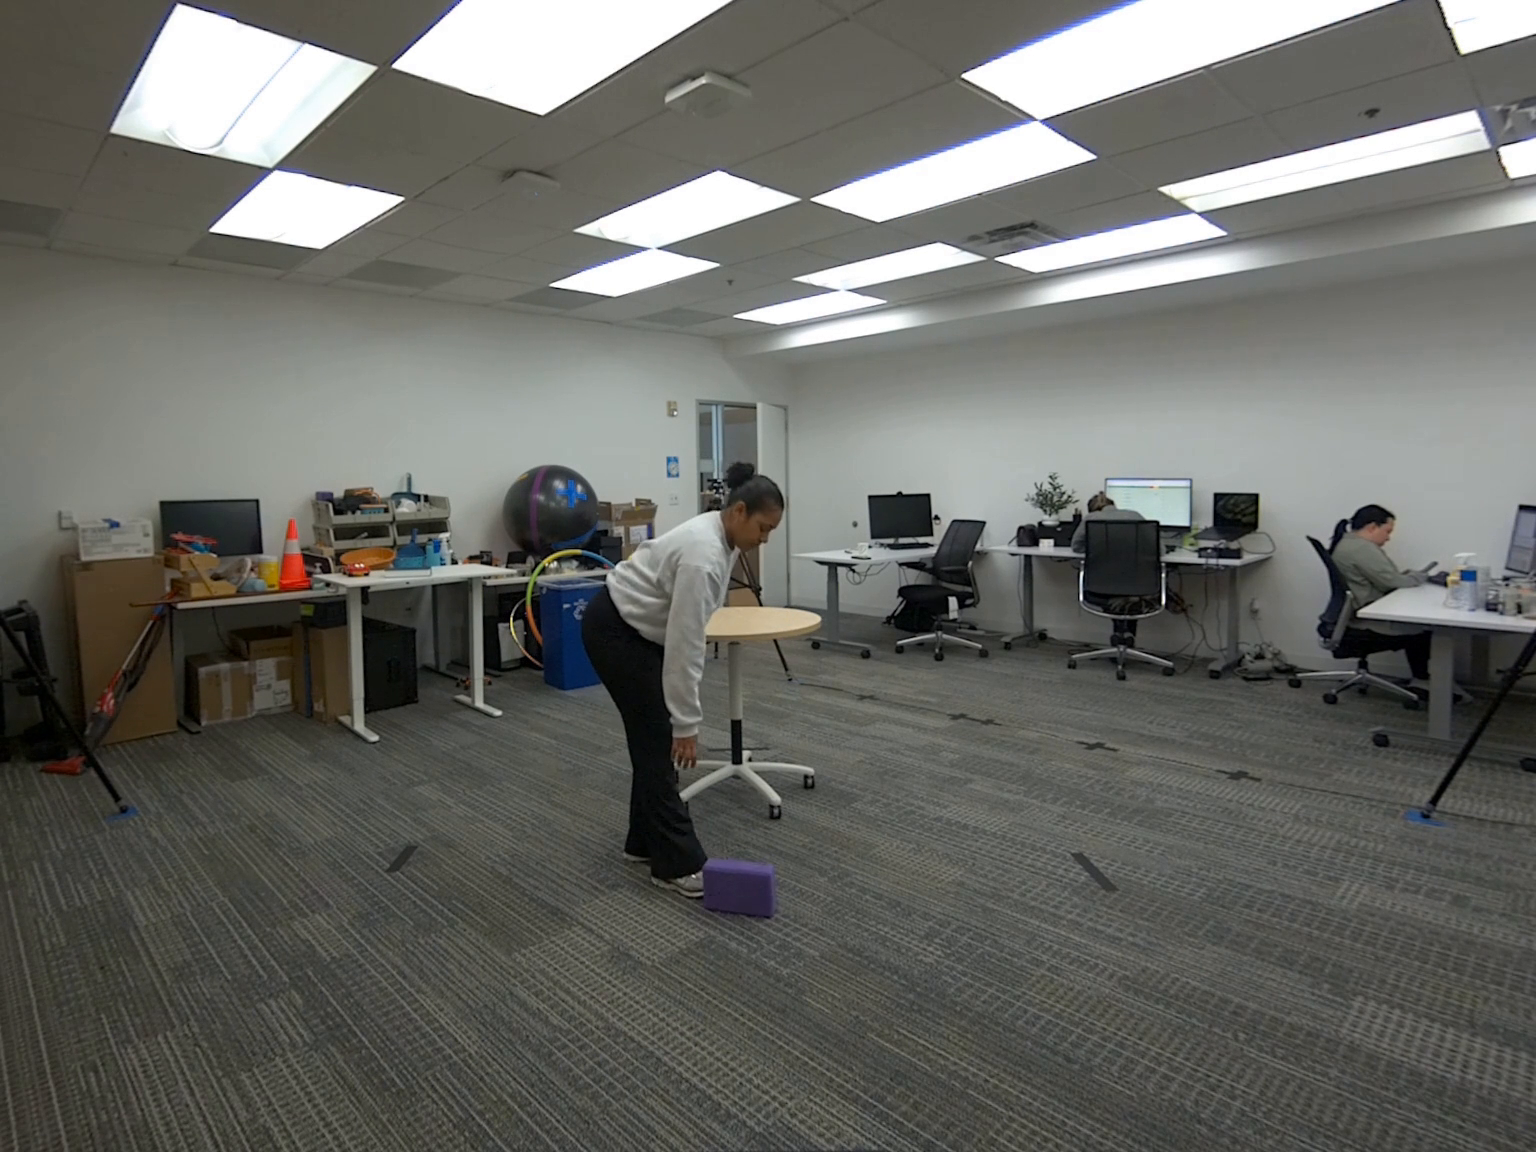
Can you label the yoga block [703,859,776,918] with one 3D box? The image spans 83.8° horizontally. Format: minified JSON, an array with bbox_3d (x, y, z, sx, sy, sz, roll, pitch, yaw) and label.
[{"bbox_3d":[-0.085,1.010,2.766,0.233,0.148,0.076,3,10,18],"label":"yoga block"}]
